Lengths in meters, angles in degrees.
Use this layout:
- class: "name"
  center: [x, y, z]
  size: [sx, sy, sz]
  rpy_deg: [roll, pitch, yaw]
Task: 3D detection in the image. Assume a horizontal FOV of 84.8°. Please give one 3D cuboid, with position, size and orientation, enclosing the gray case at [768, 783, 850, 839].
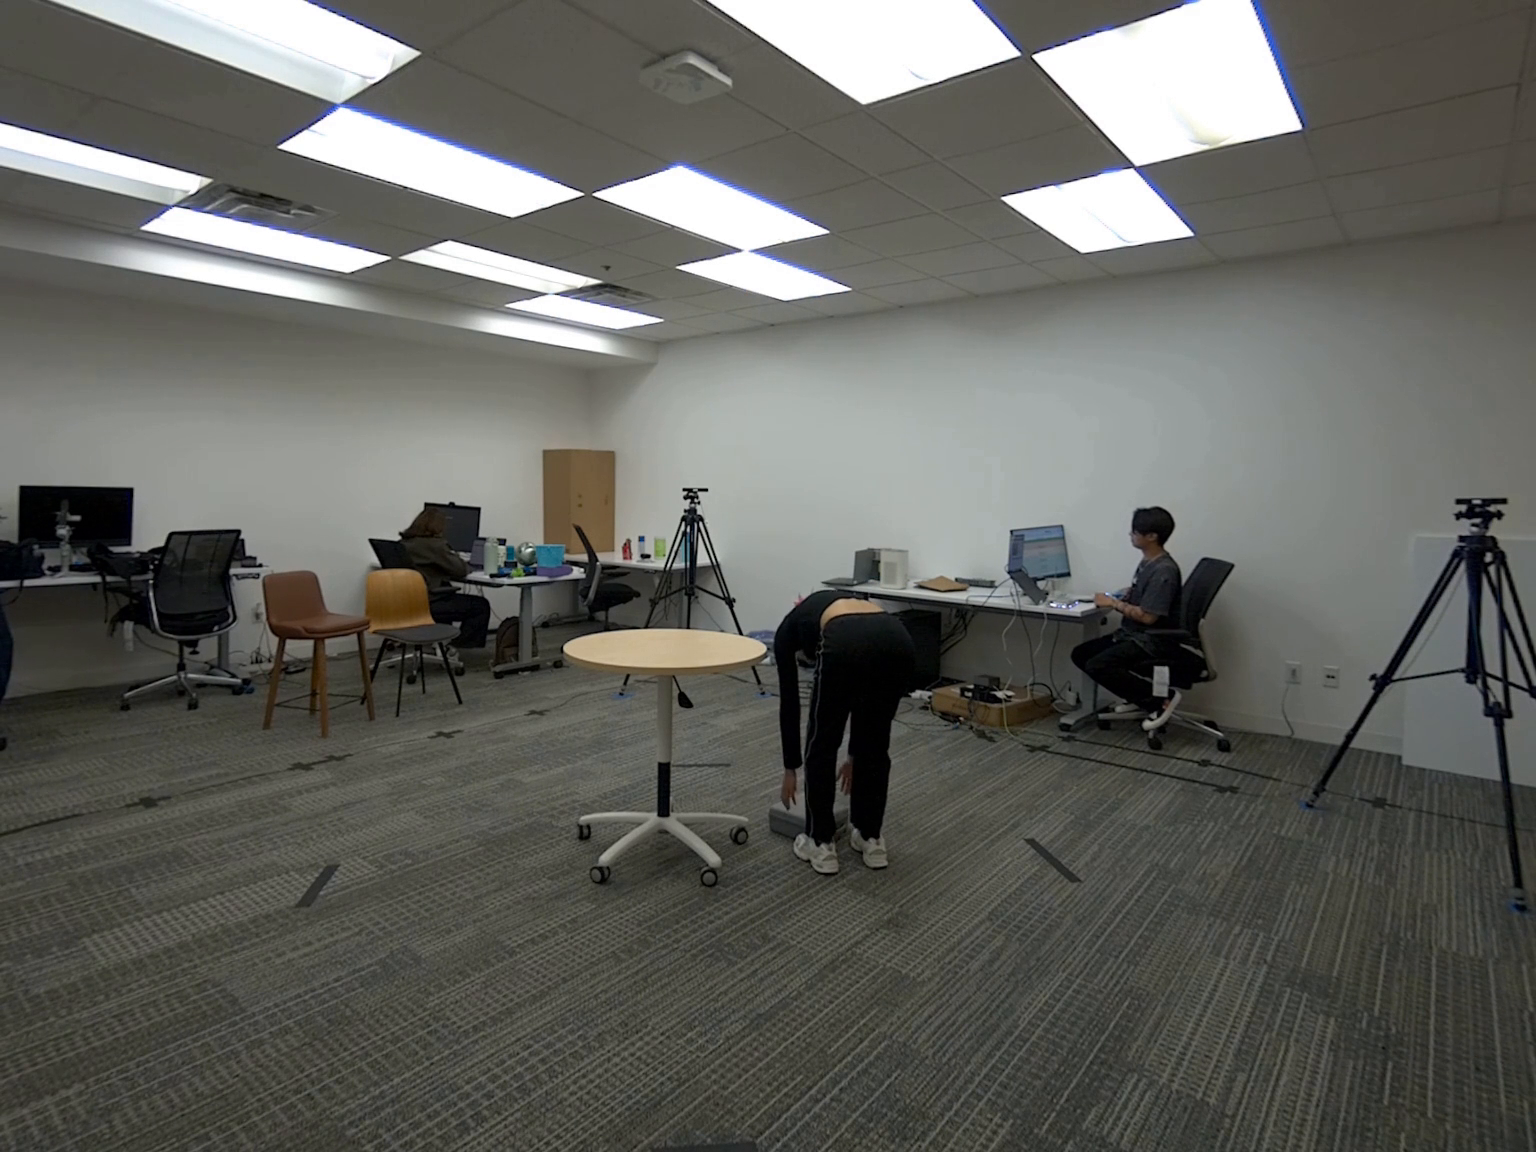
- class: "gray case"
  center: [0.158, 0.978, 3.484]
  size: [0.269, 0.104, 0.249]
  rpy_deg: [7, 7, 40]
